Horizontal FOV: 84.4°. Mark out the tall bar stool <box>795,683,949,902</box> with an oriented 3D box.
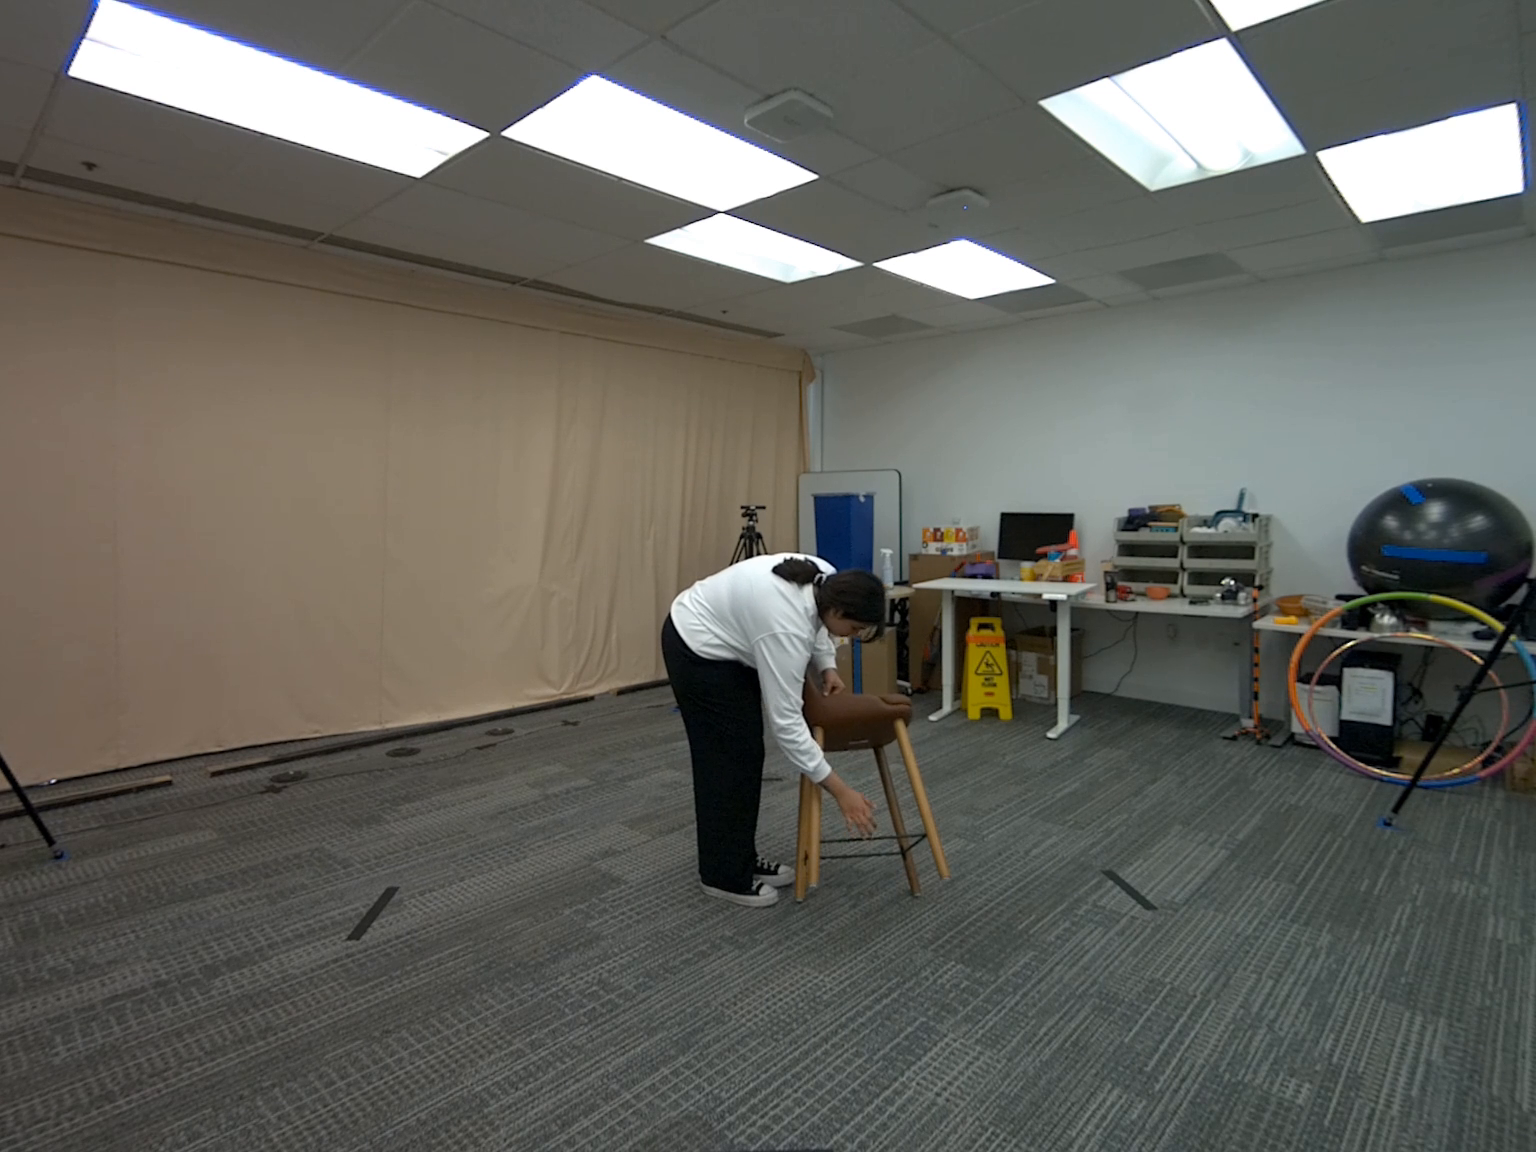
[{"bbox_3d":[0.299,0.671,3.032,0.465,0.907,0.451,-5,-28,-7],"label":"tall bar stool"}]
